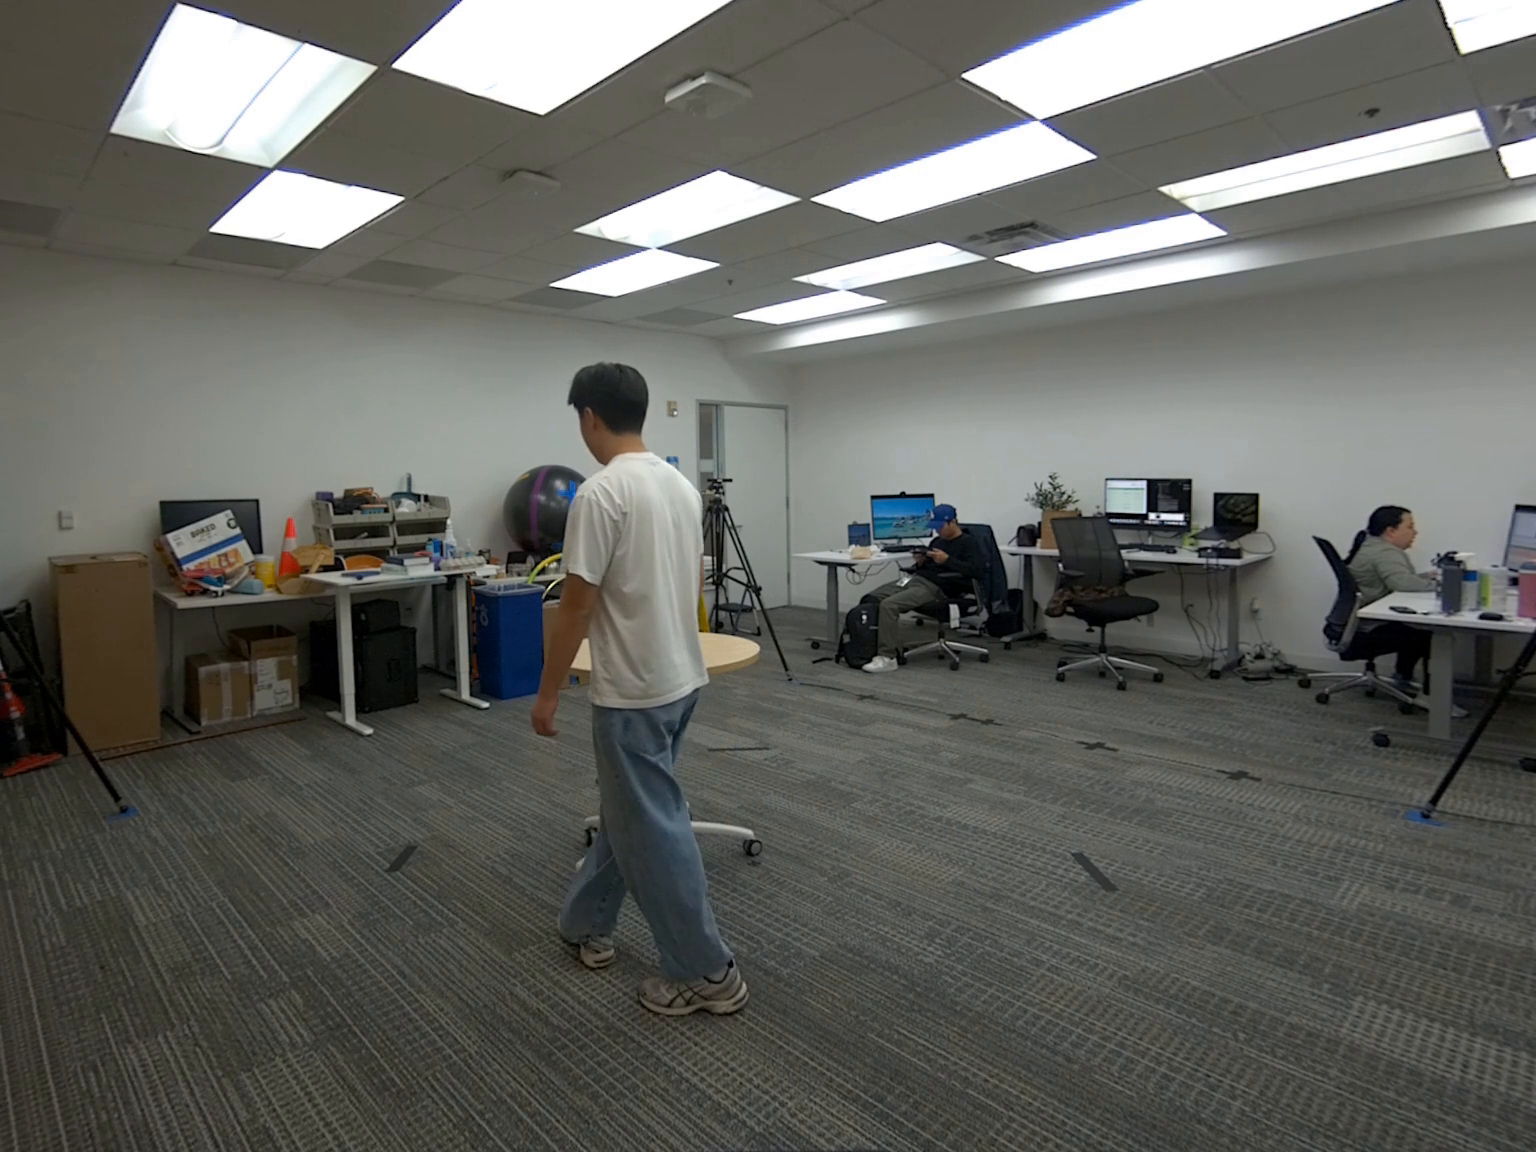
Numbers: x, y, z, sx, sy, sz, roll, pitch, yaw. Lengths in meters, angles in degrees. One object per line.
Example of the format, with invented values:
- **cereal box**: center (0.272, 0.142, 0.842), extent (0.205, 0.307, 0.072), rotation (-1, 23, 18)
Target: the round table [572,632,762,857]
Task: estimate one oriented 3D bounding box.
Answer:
- **round table**: center (-0.398, 0.661, 3.132), extent (0.763, 0.791, 0.768), rotation (-1, 5, -2)
